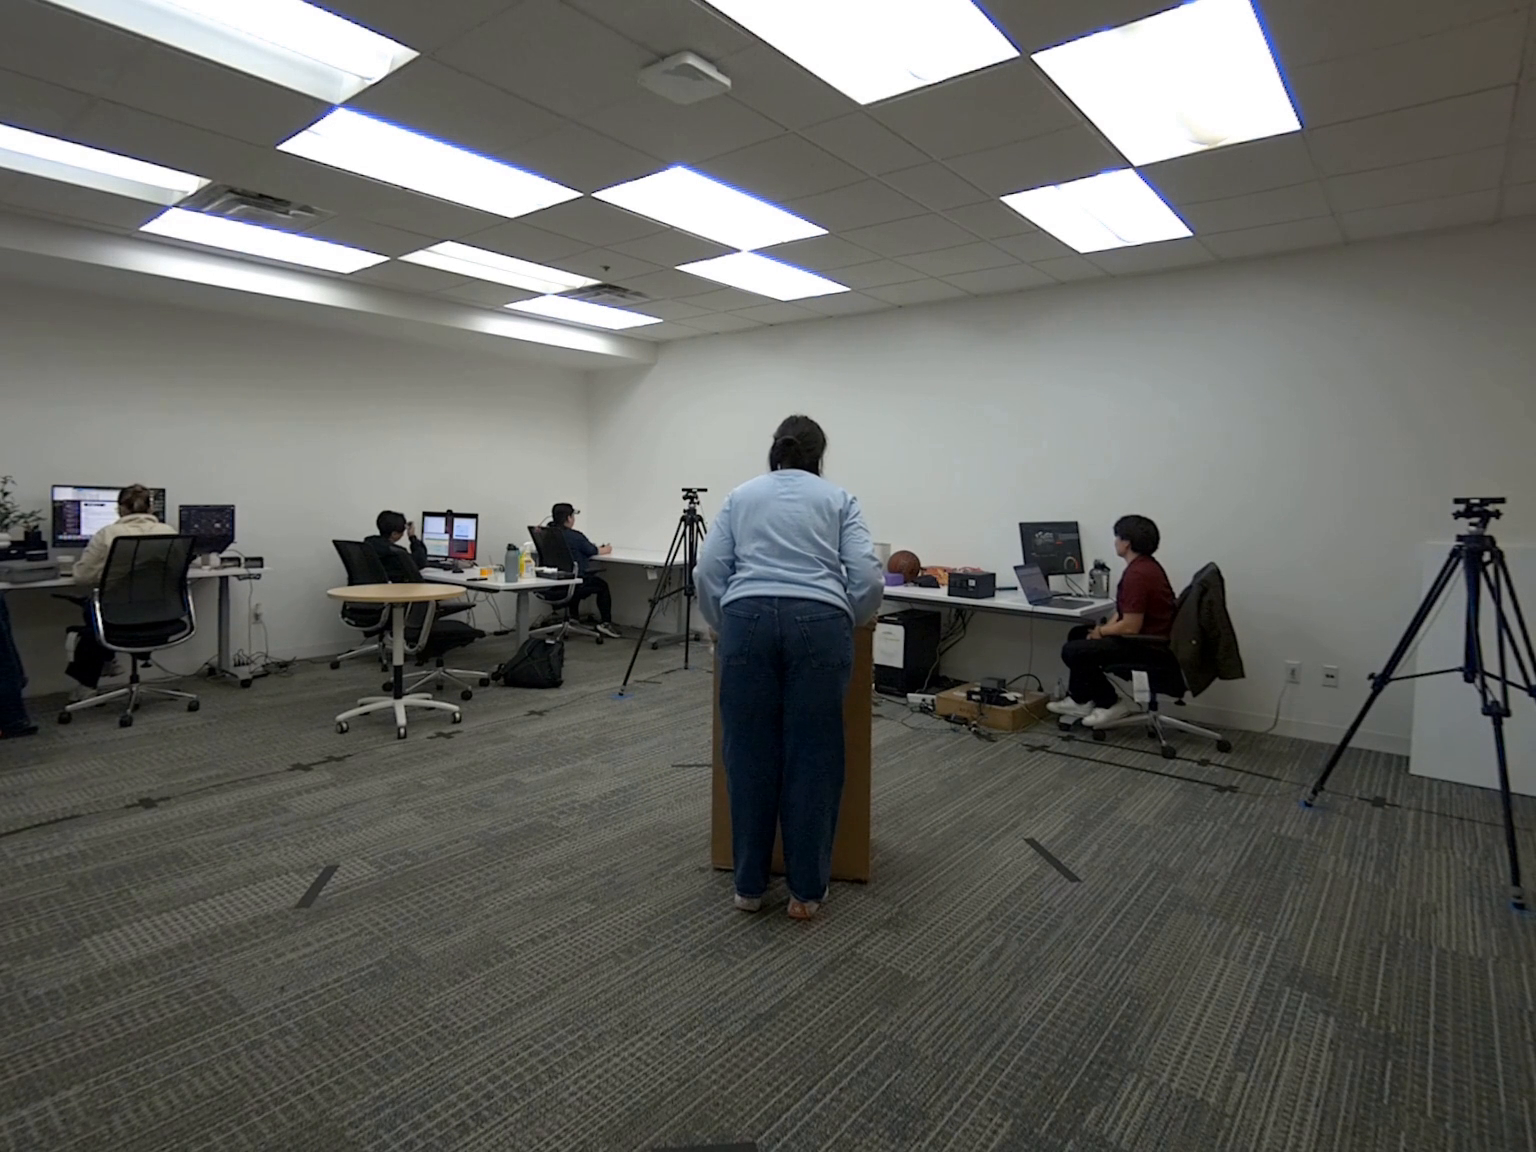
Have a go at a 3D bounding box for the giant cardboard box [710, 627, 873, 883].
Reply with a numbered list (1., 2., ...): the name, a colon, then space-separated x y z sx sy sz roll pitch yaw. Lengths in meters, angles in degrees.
1. giant cardboard box: 0.097 0.547 3.261 0.582 1.024 0.423 1 2 7
